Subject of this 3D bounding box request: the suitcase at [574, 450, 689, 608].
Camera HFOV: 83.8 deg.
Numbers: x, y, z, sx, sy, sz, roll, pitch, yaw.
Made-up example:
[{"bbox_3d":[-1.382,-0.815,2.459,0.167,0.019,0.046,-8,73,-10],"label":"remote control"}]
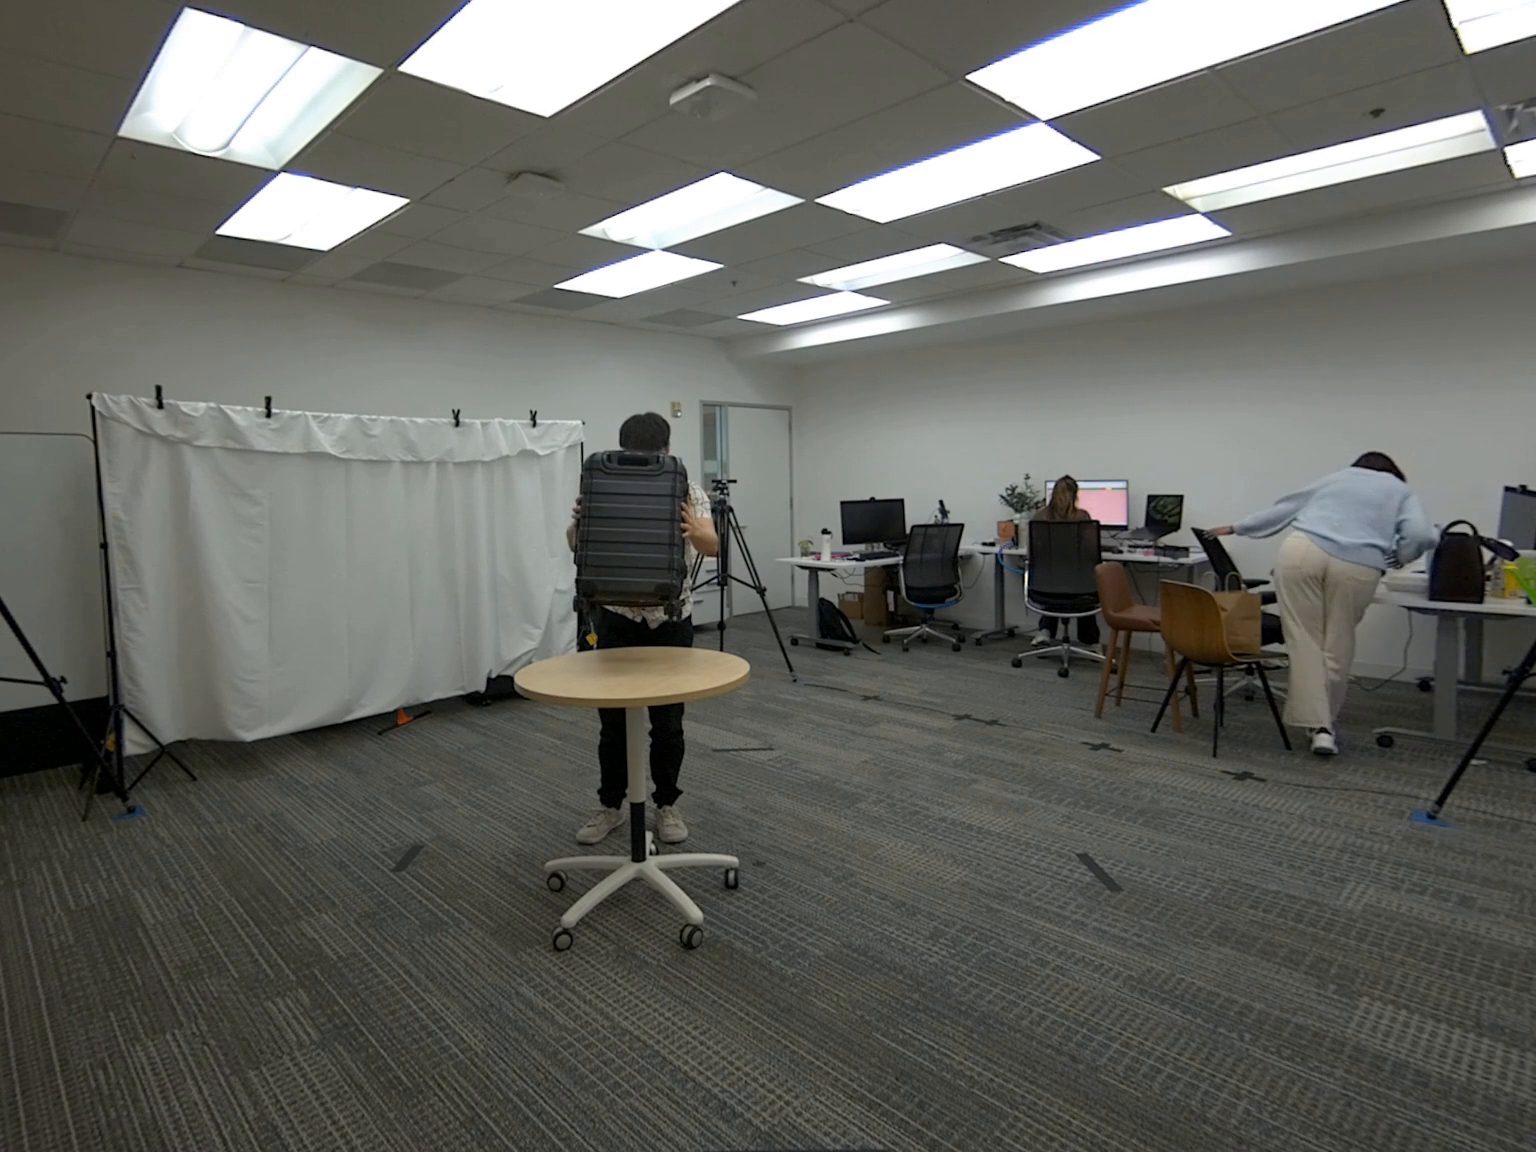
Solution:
[{"bbox_3d":[-0.464,-0.142,2.887,0.376,0.554,0.246,0,-10,1],"label":"suitcase"}]
